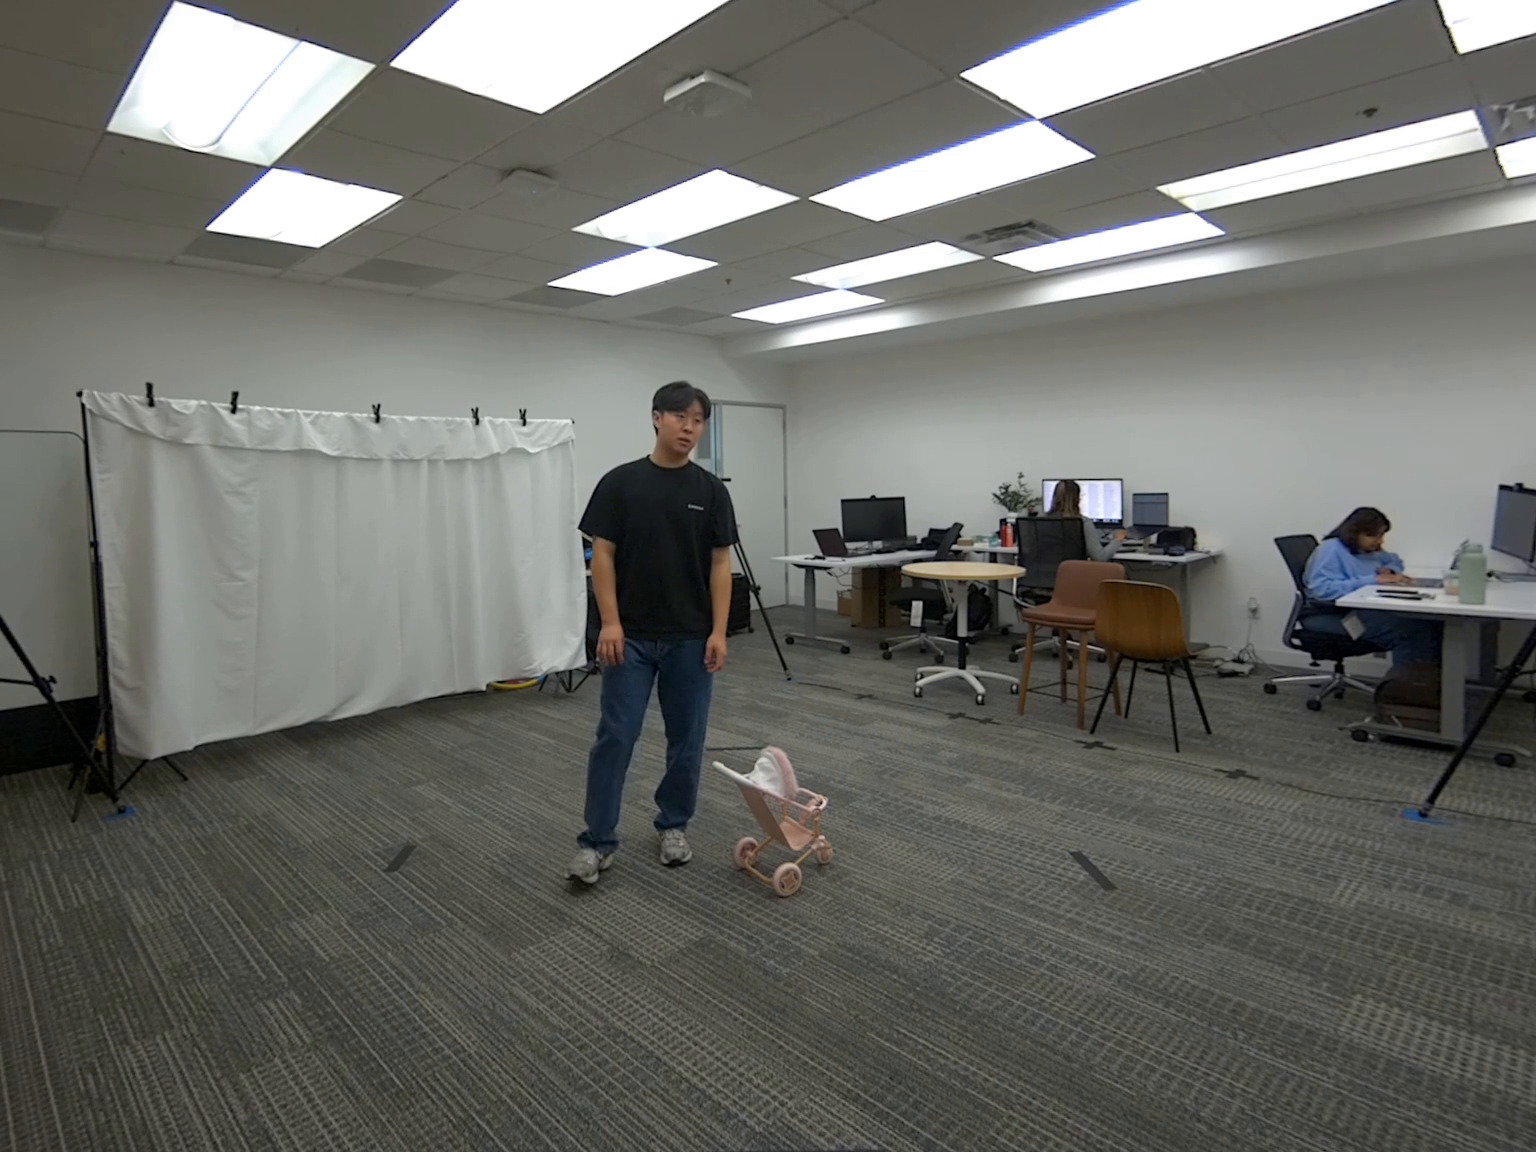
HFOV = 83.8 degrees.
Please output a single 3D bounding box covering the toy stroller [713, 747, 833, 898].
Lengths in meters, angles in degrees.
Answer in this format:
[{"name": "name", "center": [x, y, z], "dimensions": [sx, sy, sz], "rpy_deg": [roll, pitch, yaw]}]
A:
[{"name": "toy stroller", "center": [0.046, 0.826, 2.979], "dimensions": [0.337, 0.528, 0.289], "rpy_deg": [-21, 12, -25]}]
